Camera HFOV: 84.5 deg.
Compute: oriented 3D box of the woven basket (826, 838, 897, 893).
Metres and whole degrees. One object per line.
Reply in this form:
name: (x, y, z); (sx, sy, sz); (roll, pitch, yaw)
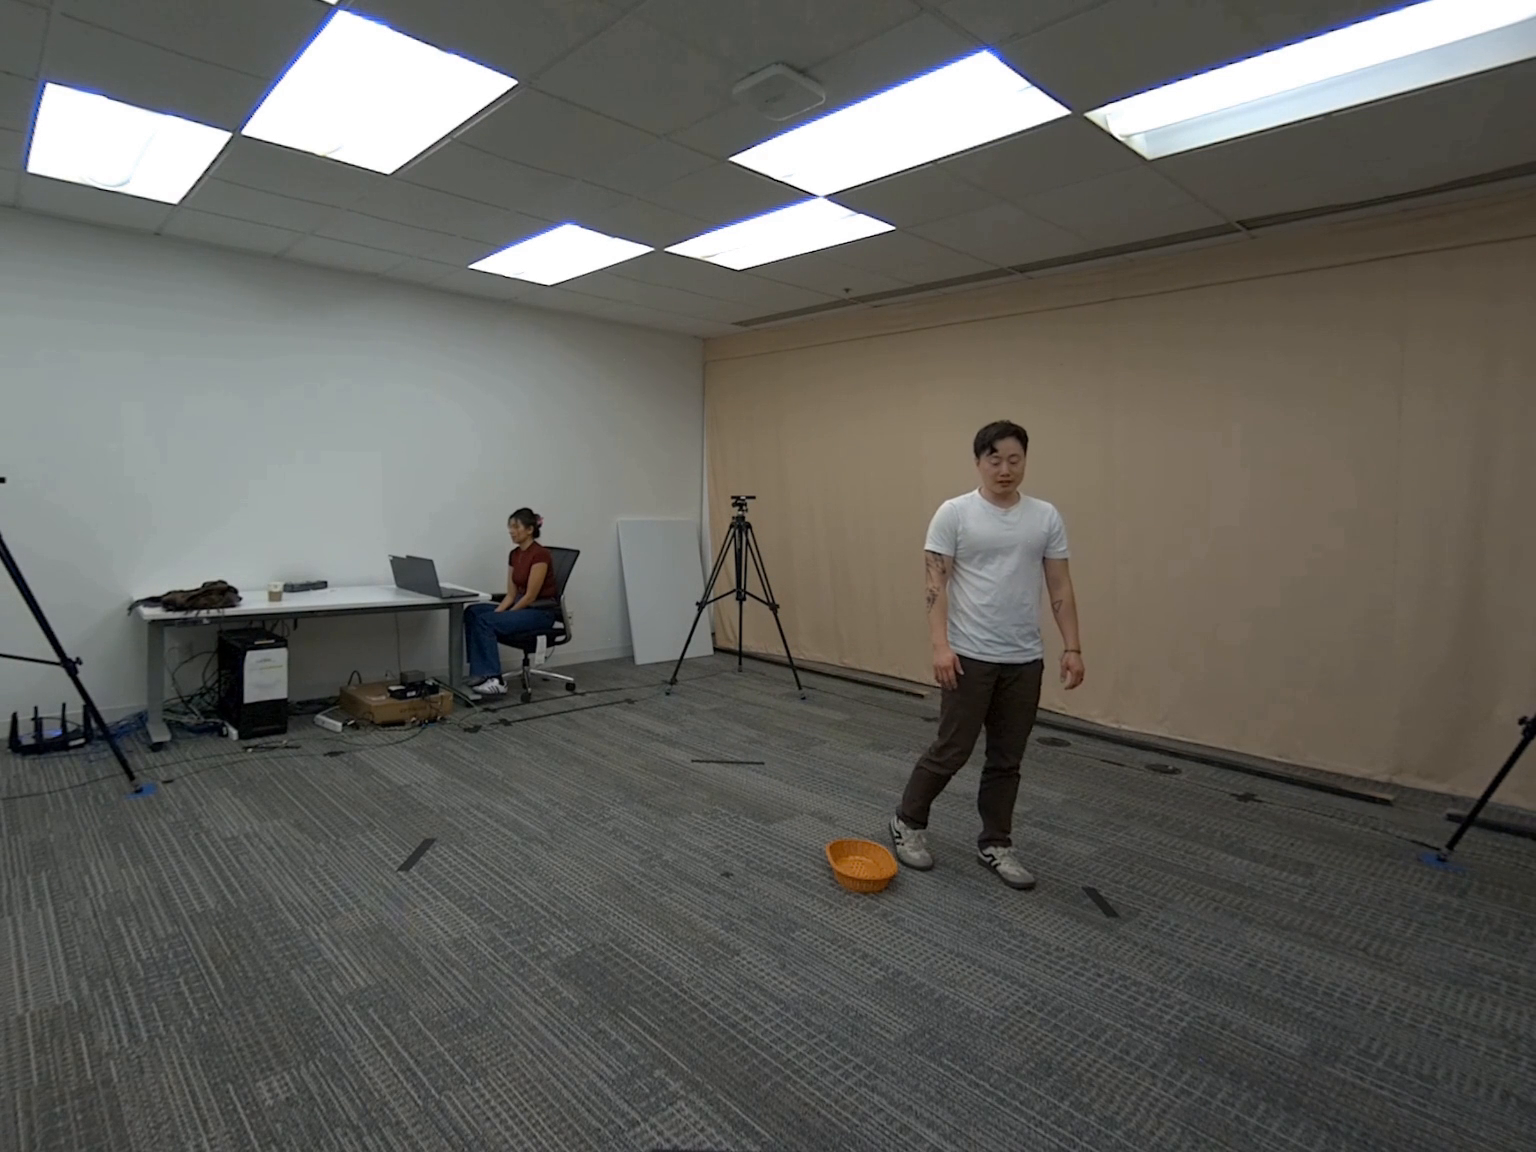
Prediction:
woven basket: (0.336, 1.072, 3.115); (0.252, 0.073, 0.352); (2, 5, -4)
